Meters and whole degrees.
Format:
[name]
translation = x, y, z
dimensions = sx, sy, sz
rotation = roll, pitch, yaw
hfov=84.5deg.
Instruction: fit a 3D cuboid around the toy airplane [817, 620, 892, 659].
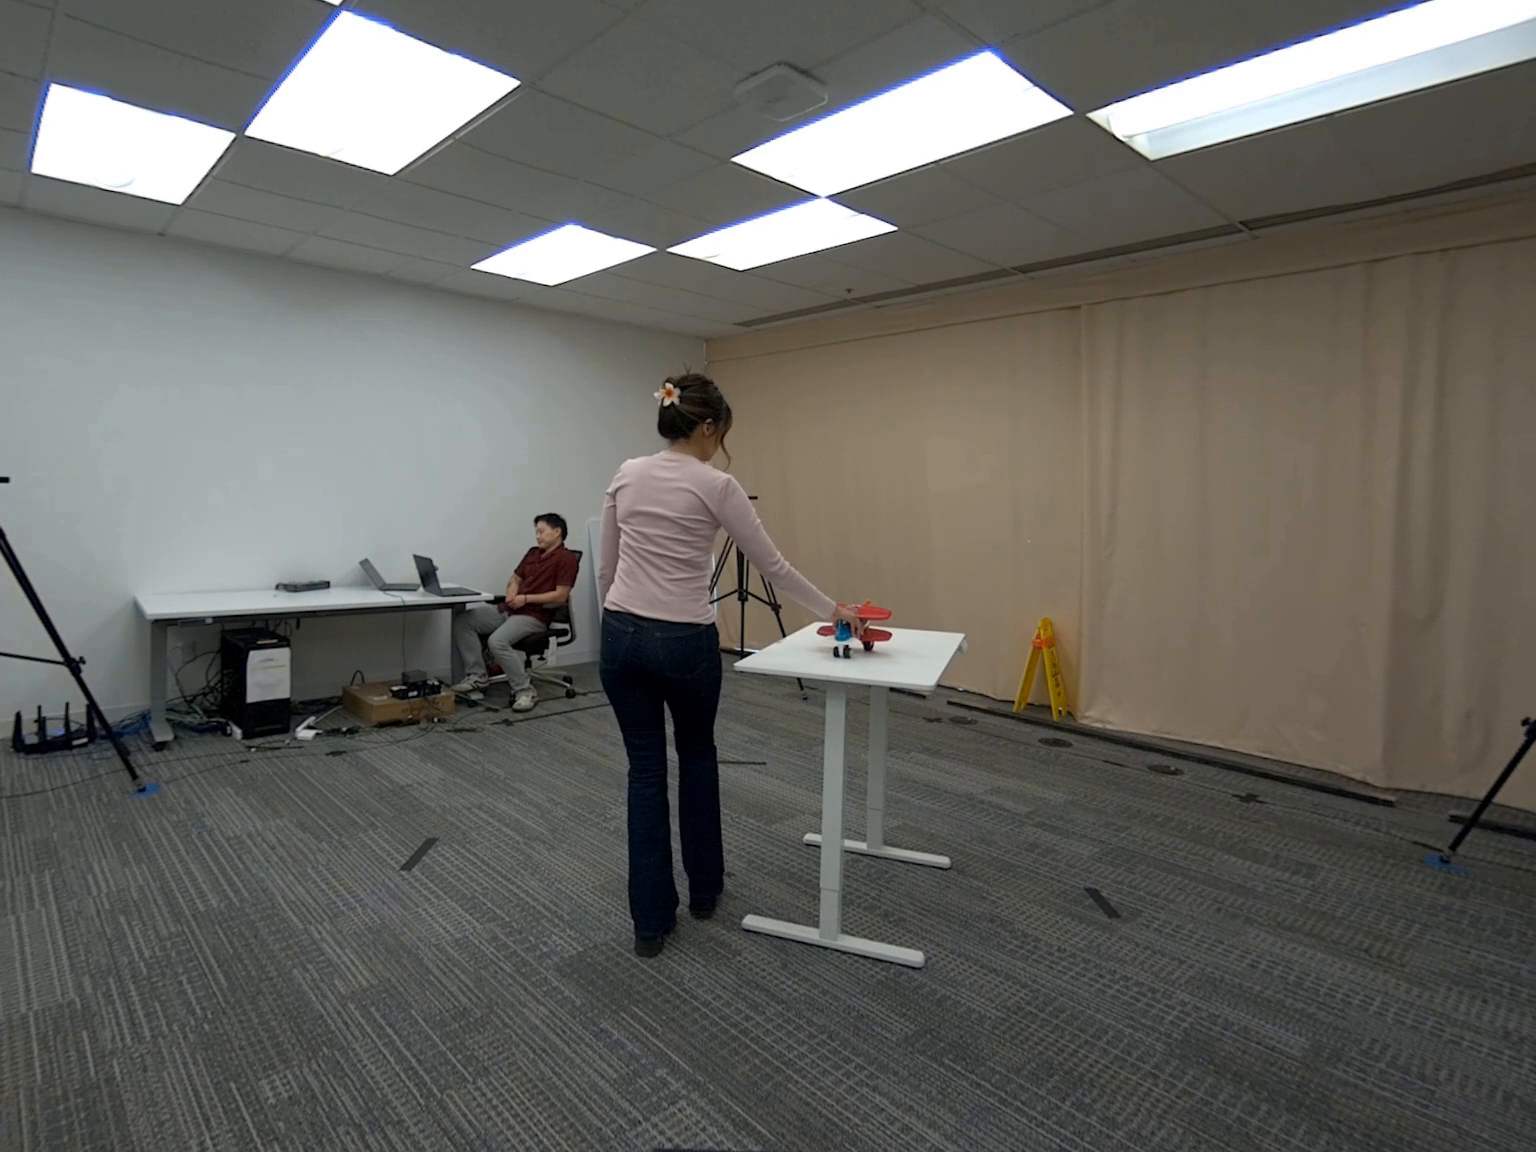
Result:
[toy airplane]
translation = 0.292, 0.185, 2.805
dimensions = 0.250, 0.156, 0.261
rotation = 0, 4, -7
